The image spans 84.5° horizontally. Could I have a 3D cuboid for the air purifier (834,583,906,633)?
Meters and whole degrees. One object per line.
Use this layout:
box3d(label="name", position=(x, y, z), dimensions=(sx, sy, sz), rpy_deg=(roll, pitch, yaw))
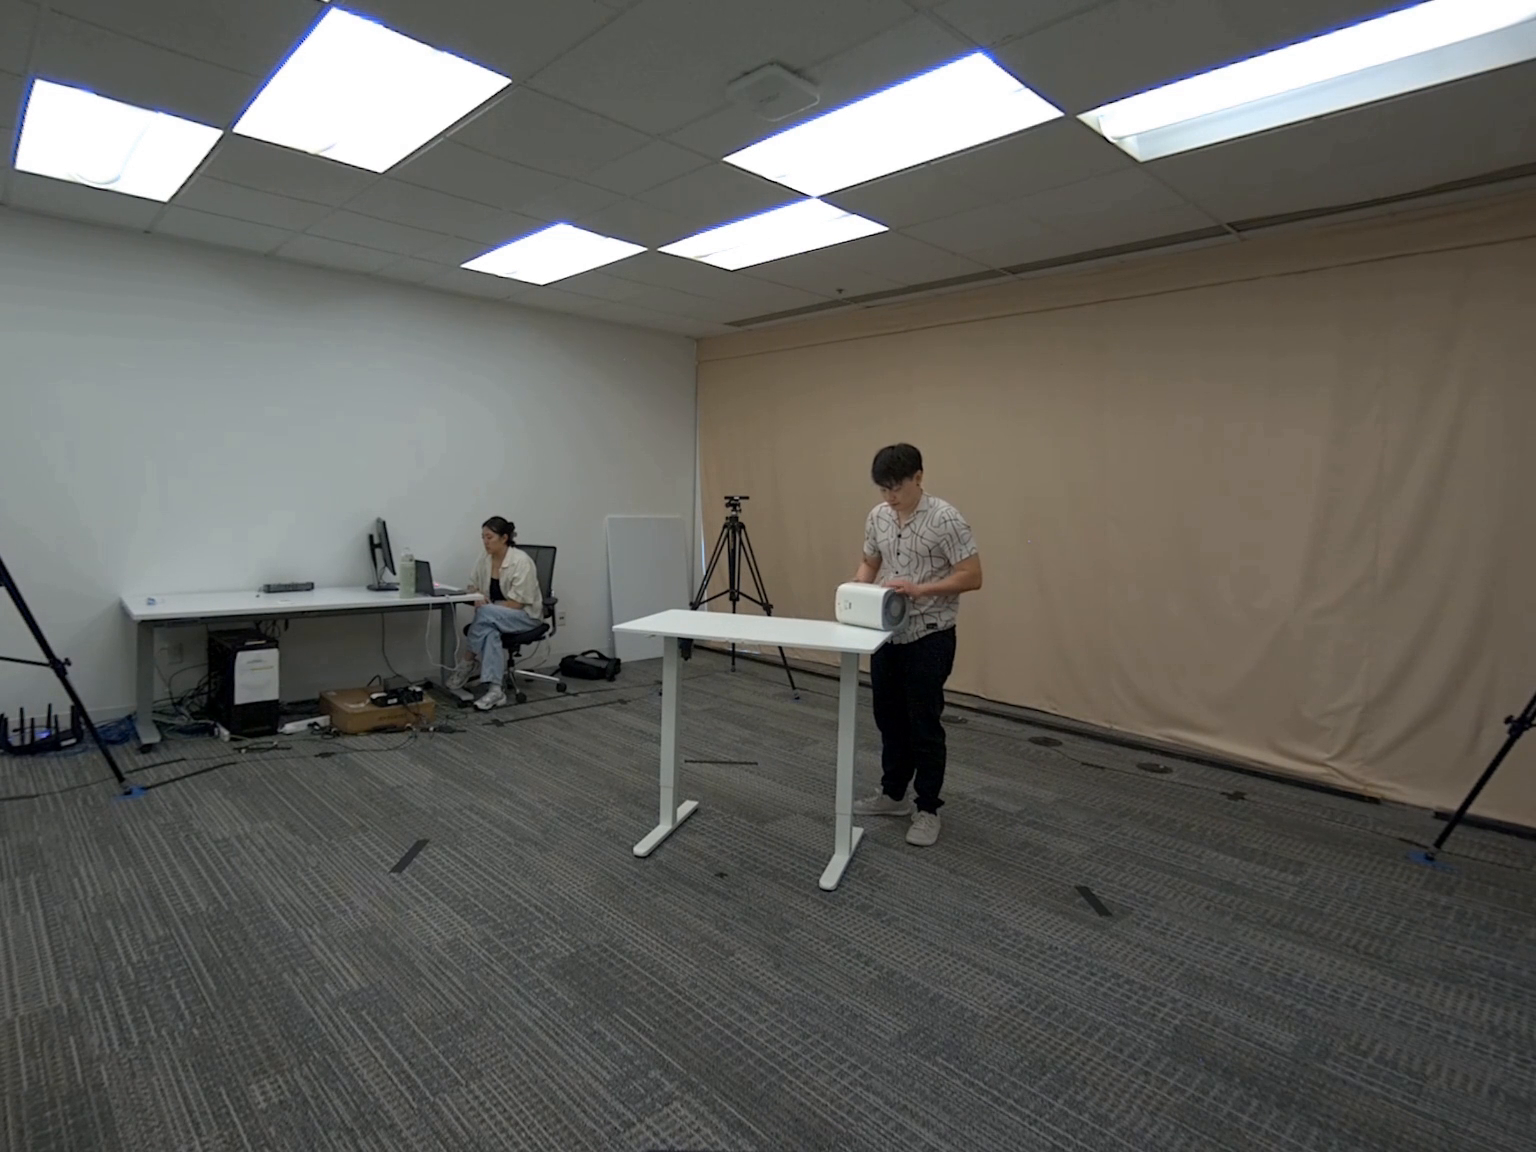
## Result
box3d(label="air purifier", position=(0.411, 0.120, 3.436), dimensions=(0.168, 0.170, 0.272), rpy_deg=(-4, 8, -40))
